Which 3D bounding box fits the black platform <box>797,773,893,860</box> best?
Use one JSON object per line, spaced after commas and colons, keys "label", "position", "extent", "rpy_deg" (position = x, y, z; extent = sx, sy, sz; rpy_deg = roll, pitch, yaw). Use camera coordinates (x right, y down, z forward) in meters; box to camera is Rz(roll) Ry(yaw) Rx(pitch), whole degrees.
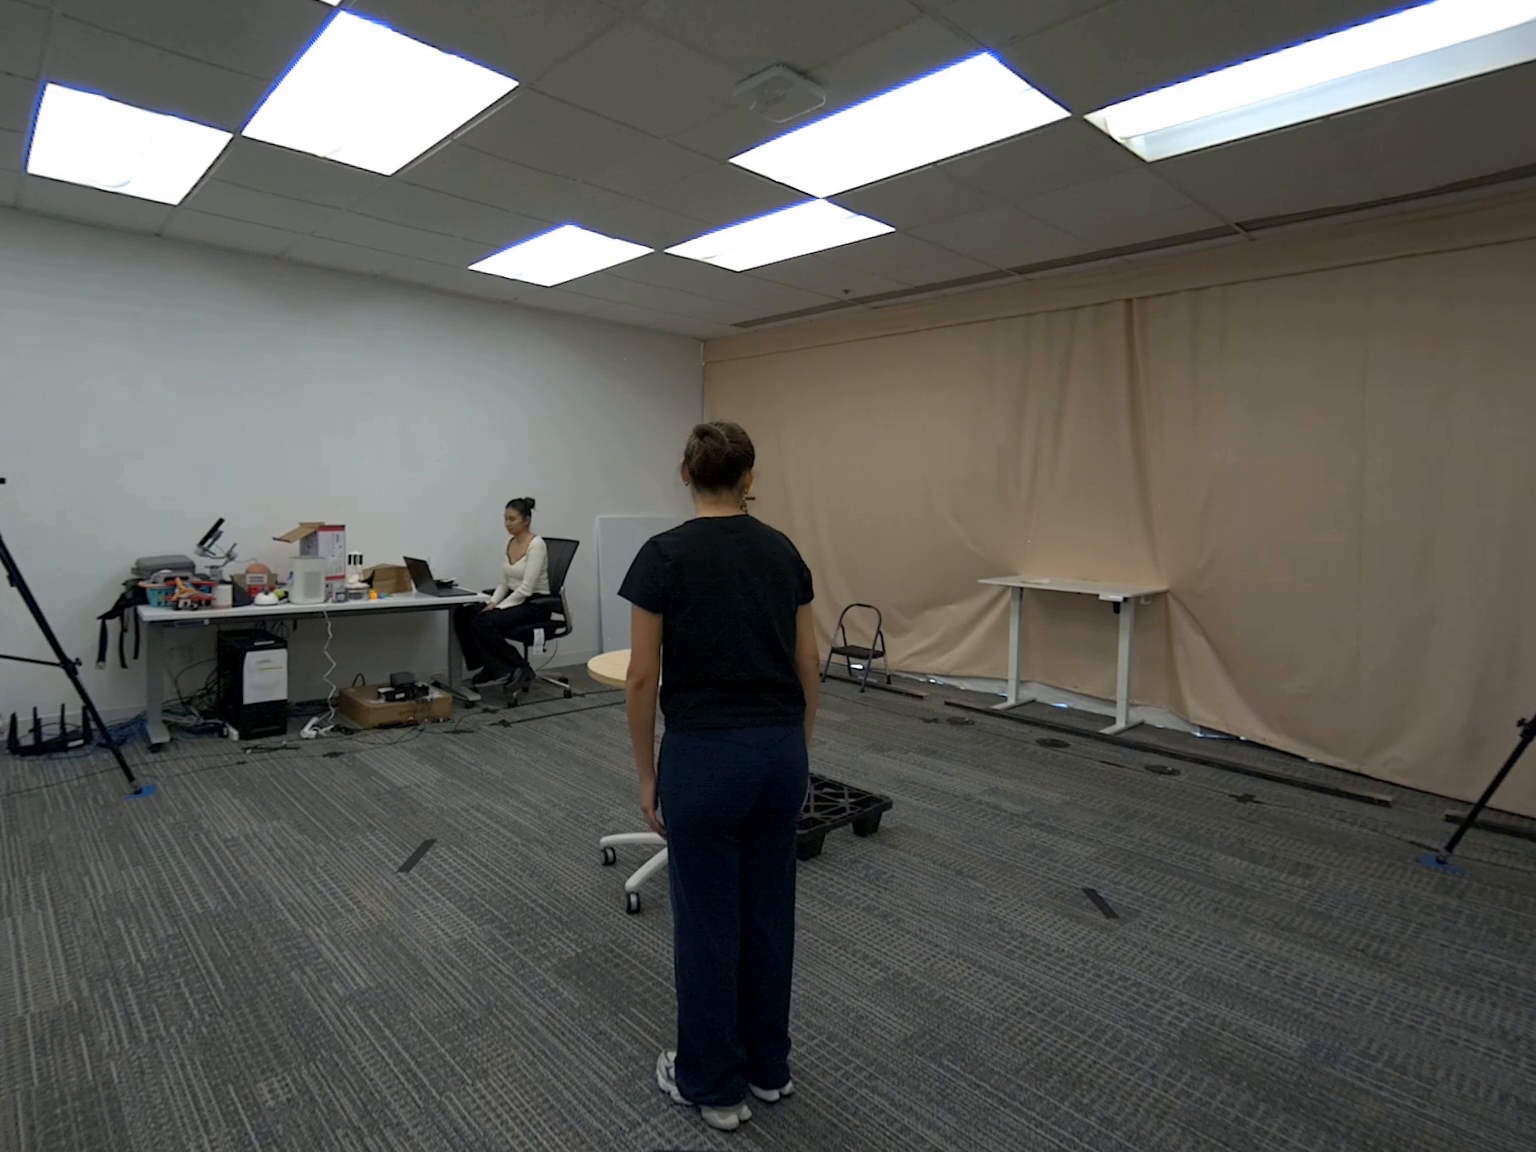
{"label": "black platform", "position": [0.038, 1.001, 3.645], "extent": [0.591, 0.143, 0.826], "rpy_deg": [-4, 7, -45]}
